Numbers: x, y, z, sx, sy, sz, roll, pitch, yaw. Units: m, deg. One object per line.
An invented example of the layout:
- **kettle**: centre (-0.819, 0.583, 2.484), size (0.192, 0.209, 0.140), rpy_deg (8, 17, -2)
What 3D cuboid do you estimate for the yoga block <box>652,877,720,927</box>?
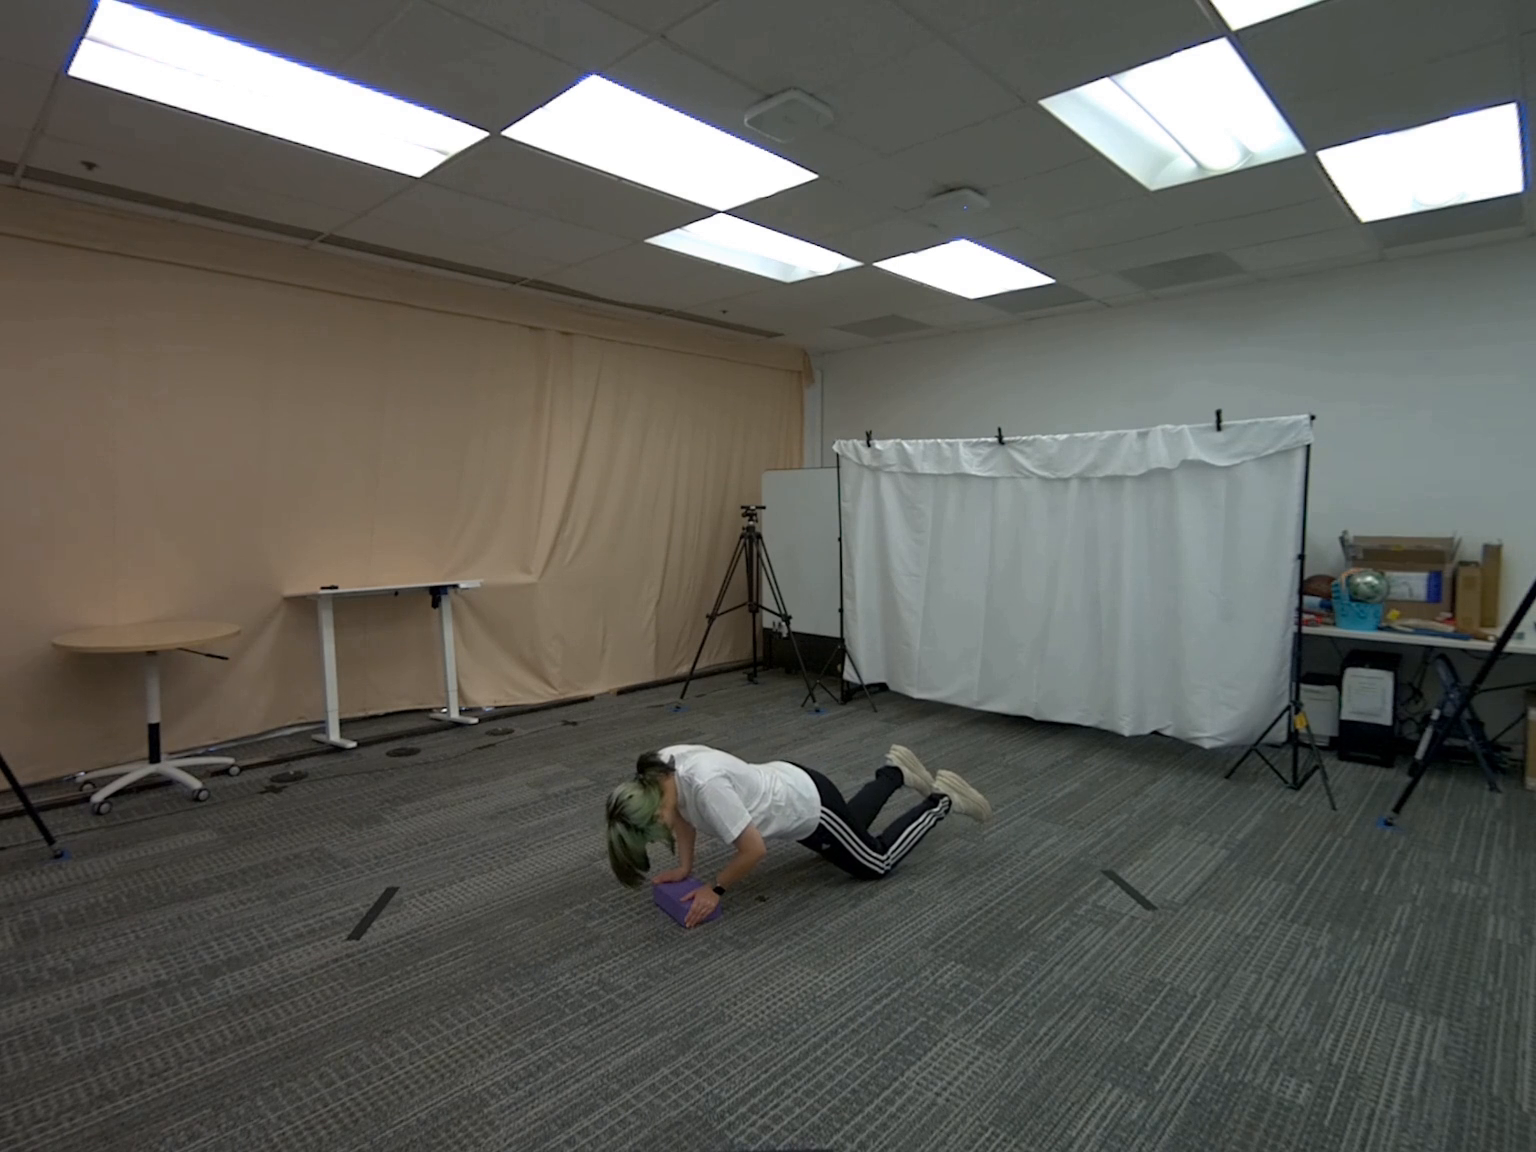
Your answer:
- **yoga block**: centre (-0.280, 1.115, 2.905), size (0.145, 0.076, 0.236), rpy_deg (-8, 8, -33)
